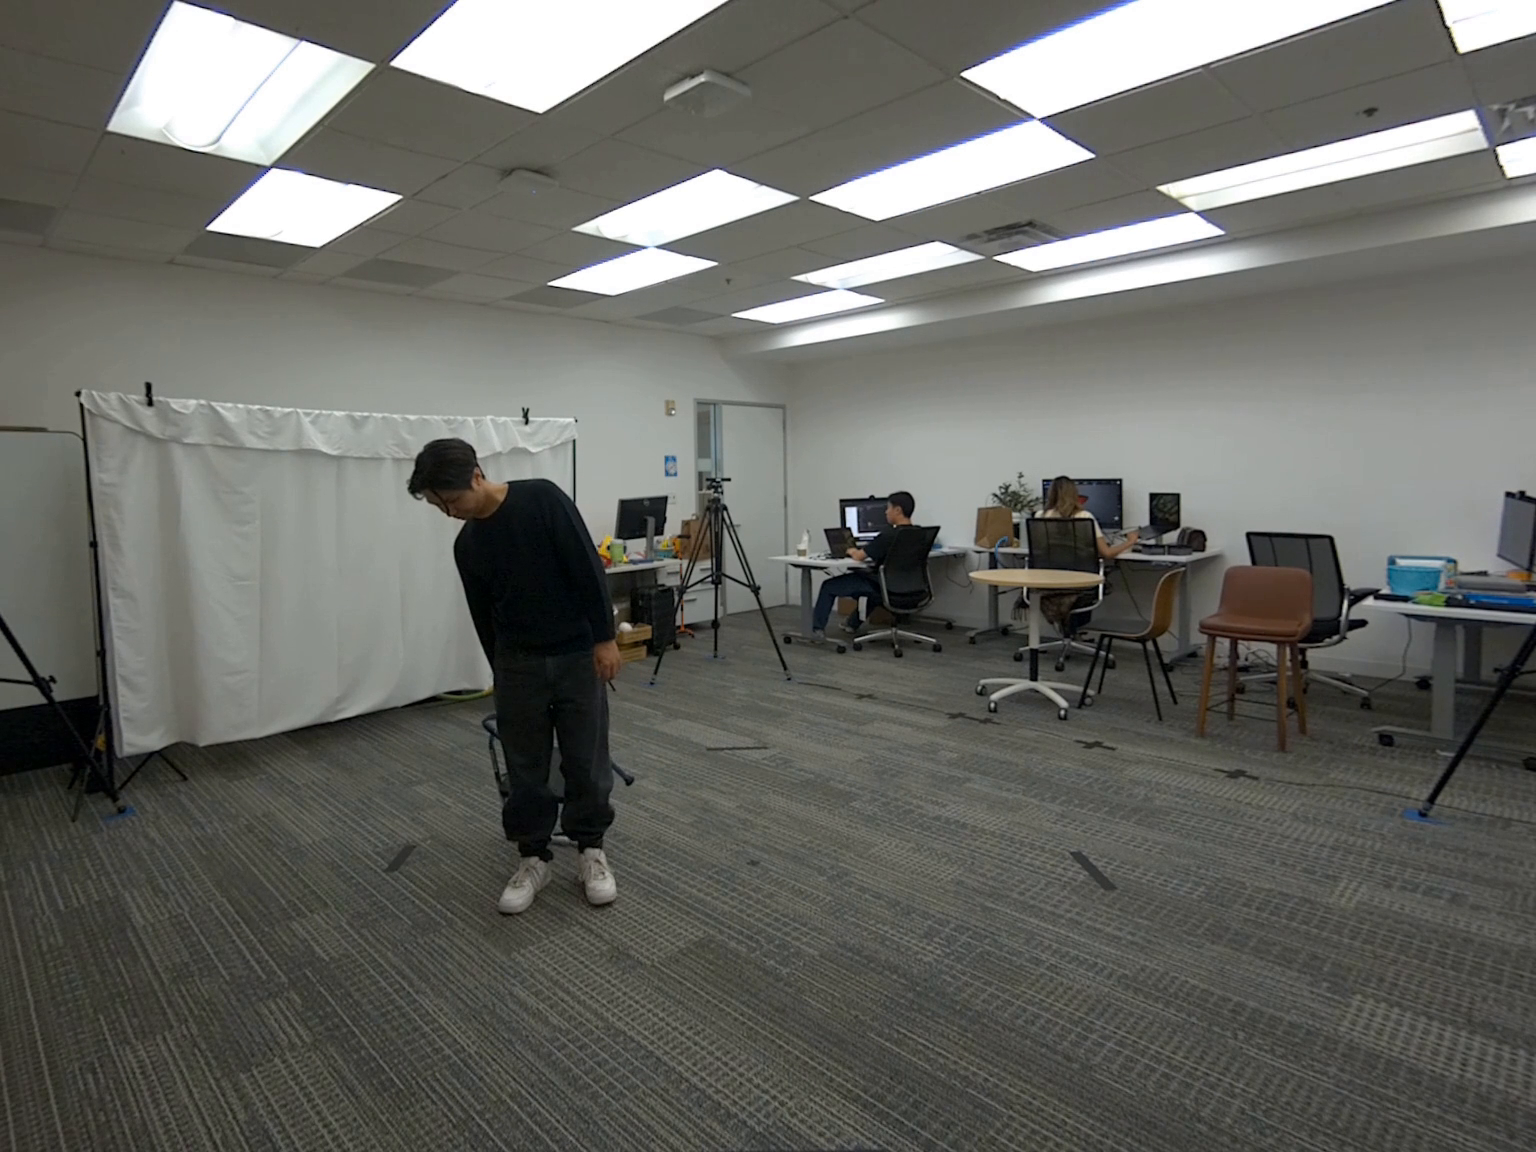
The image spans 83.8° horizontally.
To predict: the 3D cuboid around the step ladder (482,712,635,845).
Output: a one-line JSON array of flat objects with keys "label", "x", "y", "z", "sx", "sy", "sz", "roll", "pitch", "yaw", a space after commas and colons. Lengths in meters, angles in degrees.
[{"label": "step ladder", "x": -0.842, "y": 0.702, "z": 3.274, "sx": 0.437, "sy": 0.588, "sz": 0.354, "roll": 0, "pitch": 36, "yaw": 16}]
